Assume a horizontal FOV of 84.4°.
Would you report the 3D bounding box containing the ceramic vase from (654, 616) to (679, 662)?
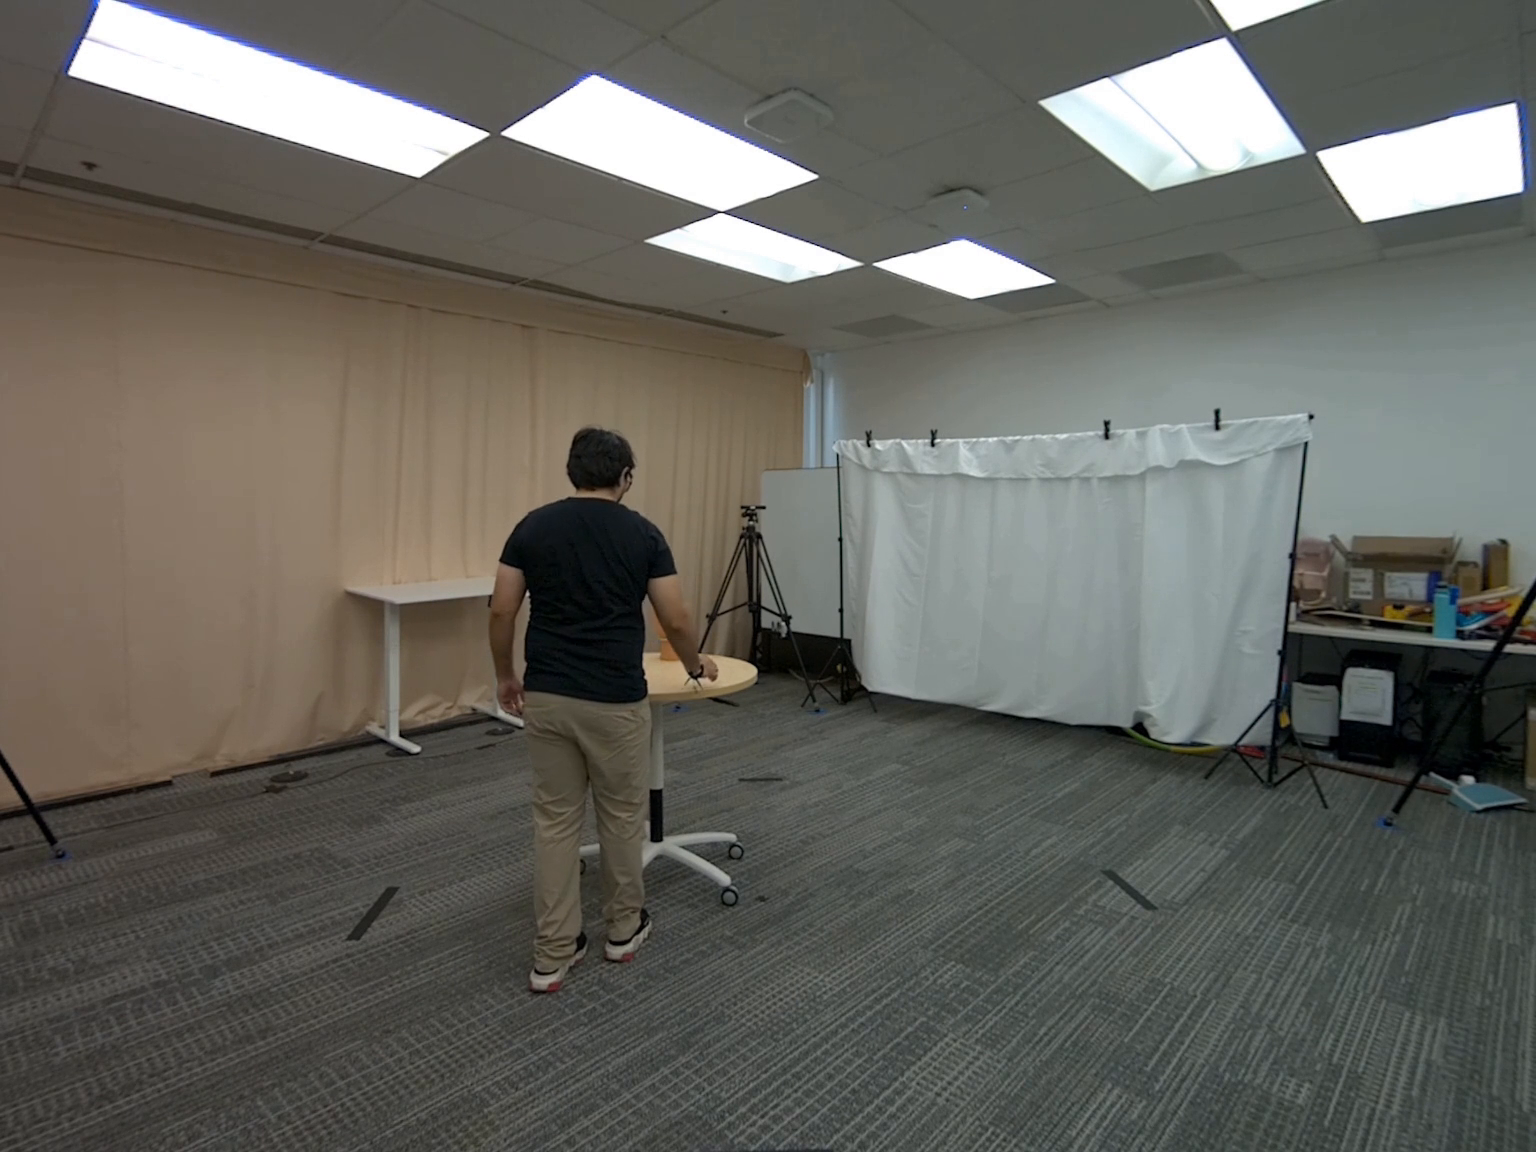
[{"bbox_3d":[-0.385,0.224,3.367,0.133,0.219,0.161,-3,3,-10],"label":"ceramic vase"}]
